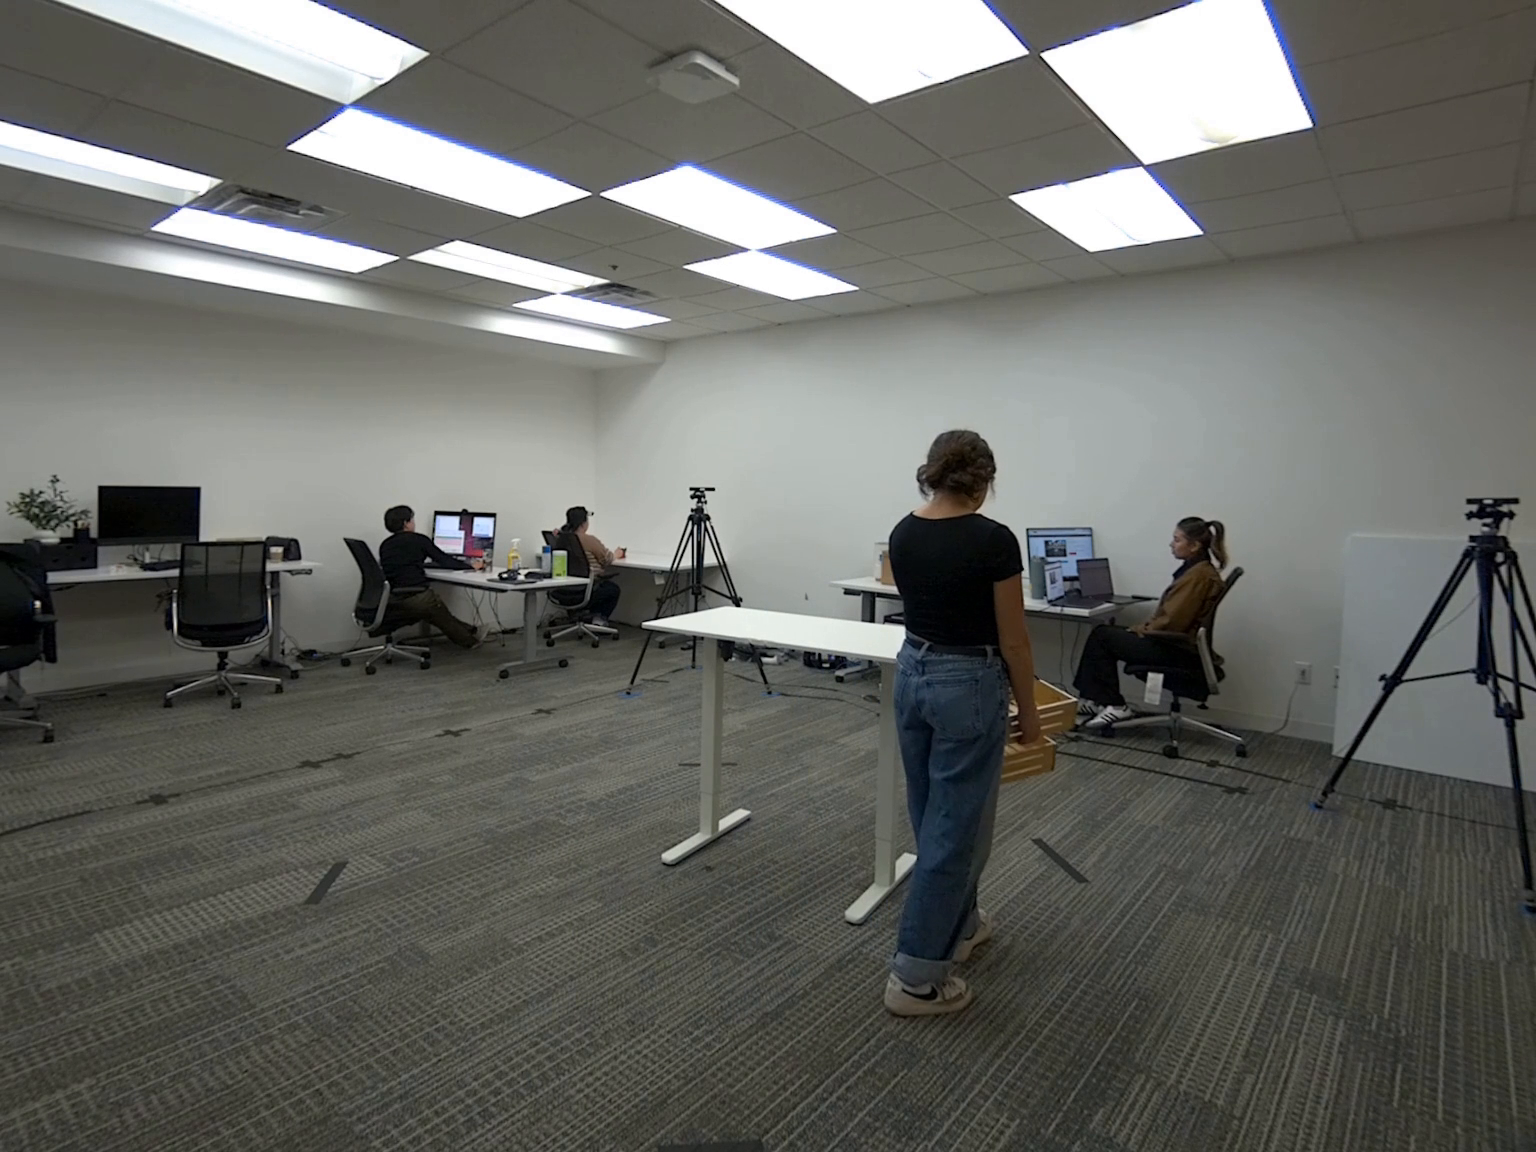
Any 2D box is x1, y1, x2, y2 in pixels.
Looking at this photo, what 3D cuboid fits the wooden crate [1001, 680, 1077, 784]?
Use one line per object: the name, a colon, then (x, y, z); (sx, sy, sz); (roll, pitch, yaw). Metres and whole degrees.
wooden crate: (0.717, 0.458, 2.574); (0.318, 0.269, 0.313); (-7, 21, -24)
